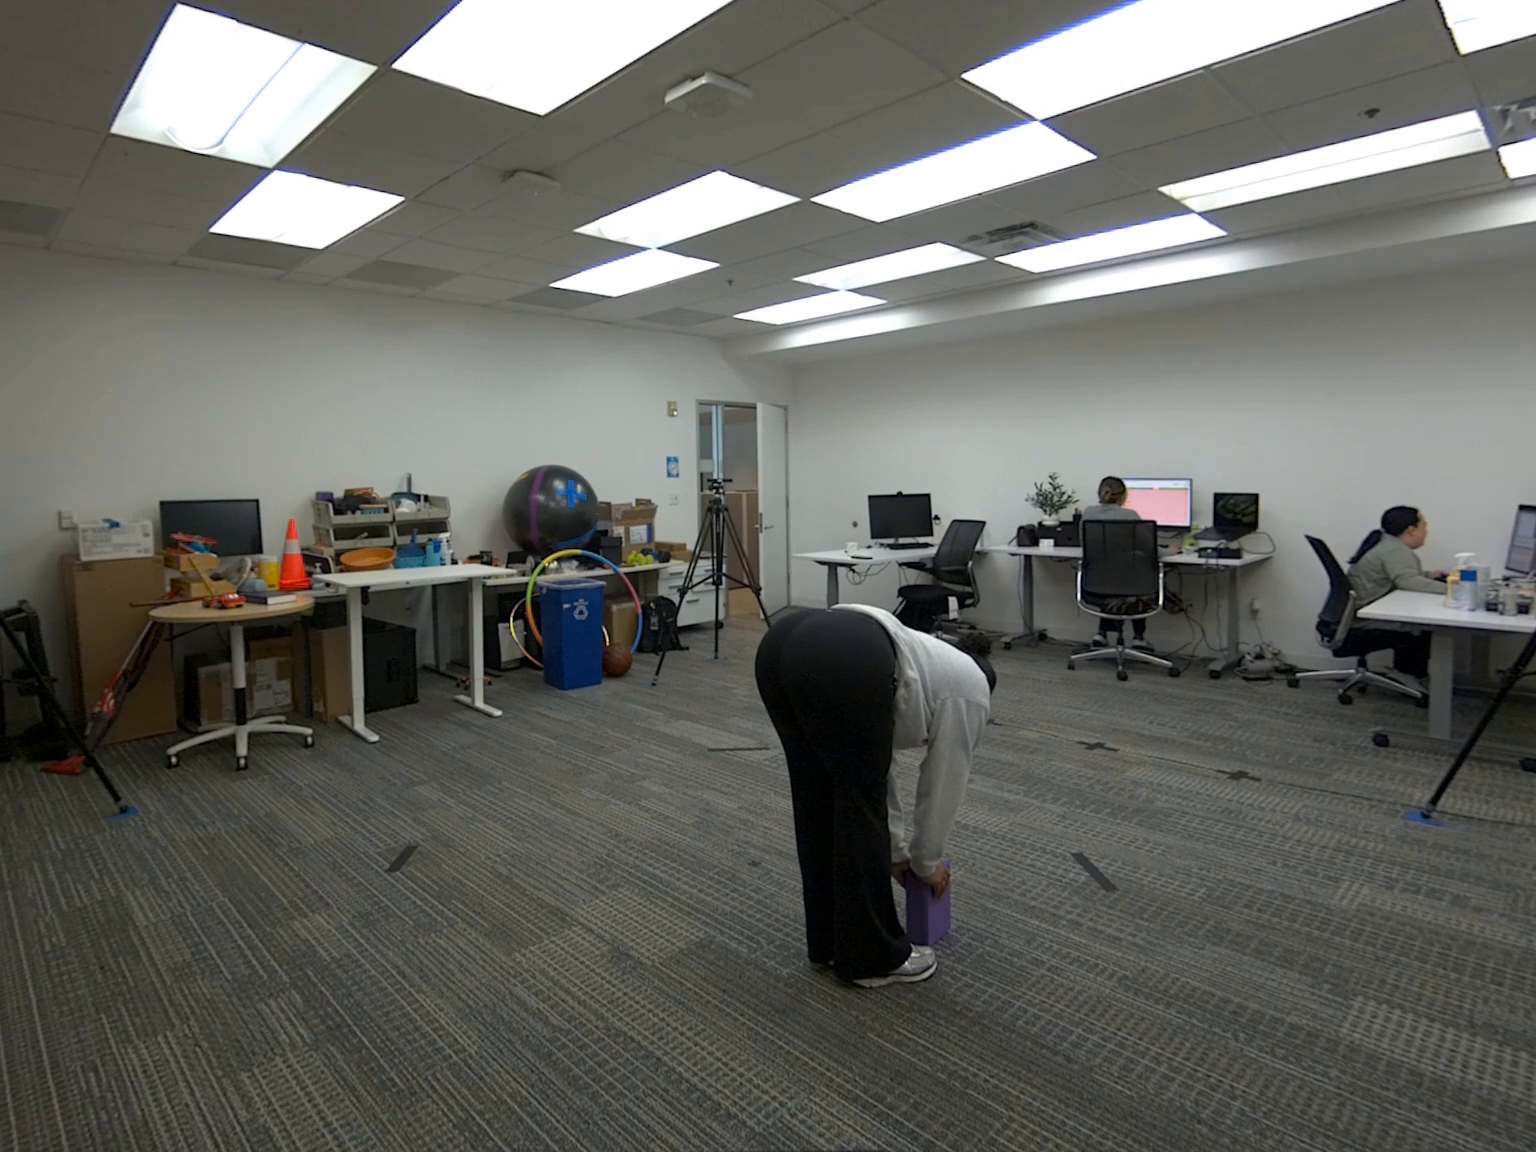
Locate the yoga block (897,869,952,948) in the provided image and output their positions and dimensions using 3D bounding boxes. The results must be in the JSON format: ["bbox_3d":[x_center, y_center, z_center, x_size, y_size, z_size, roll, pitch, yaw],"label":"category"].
[{"bbox_3d":[0.490,0.979,2.577,0.079,0.228,0.145,7,10,42],"label":"yoga block"}]
